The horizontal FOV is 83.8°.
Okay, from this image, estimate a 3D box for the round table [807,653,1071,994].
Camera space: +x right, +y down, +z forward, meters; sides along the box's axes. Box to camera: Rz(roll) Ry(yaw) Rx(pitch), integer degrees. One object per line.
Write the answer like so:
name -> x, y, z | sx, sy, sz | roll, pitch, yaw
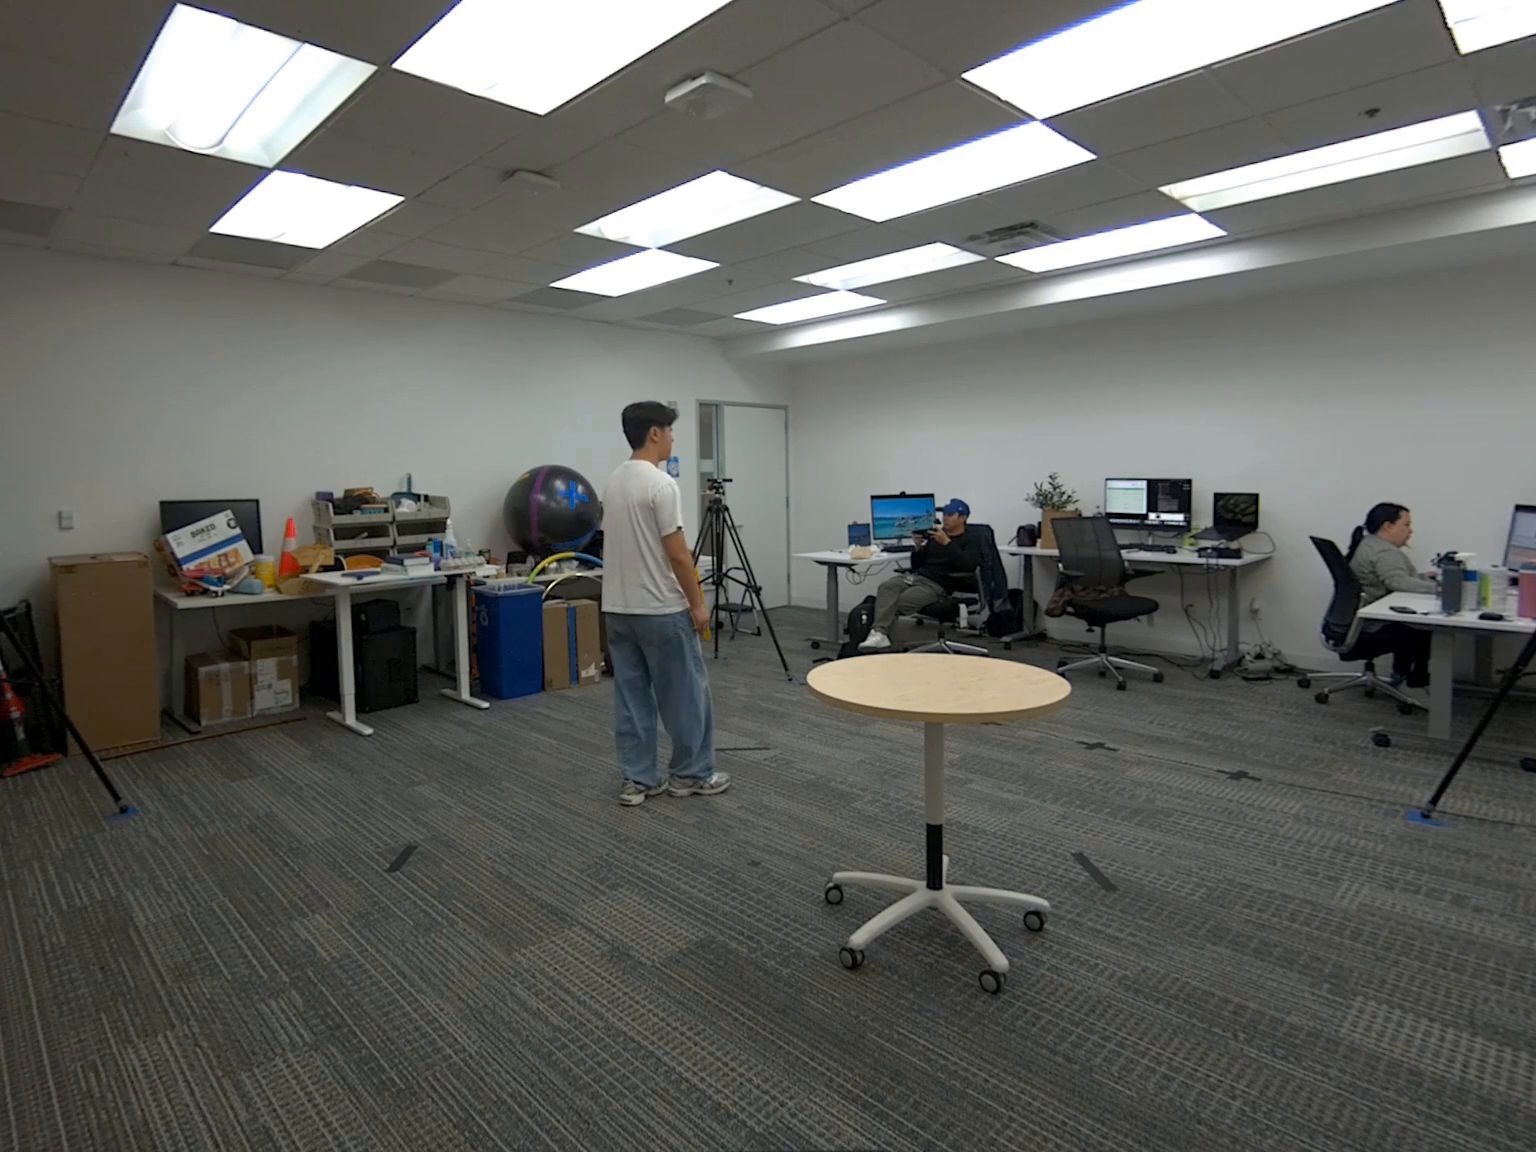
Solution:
round table -> 0.510, 0.705, 2.602 | 0.763, 0.791, 0.768 | -1, 5, -2
